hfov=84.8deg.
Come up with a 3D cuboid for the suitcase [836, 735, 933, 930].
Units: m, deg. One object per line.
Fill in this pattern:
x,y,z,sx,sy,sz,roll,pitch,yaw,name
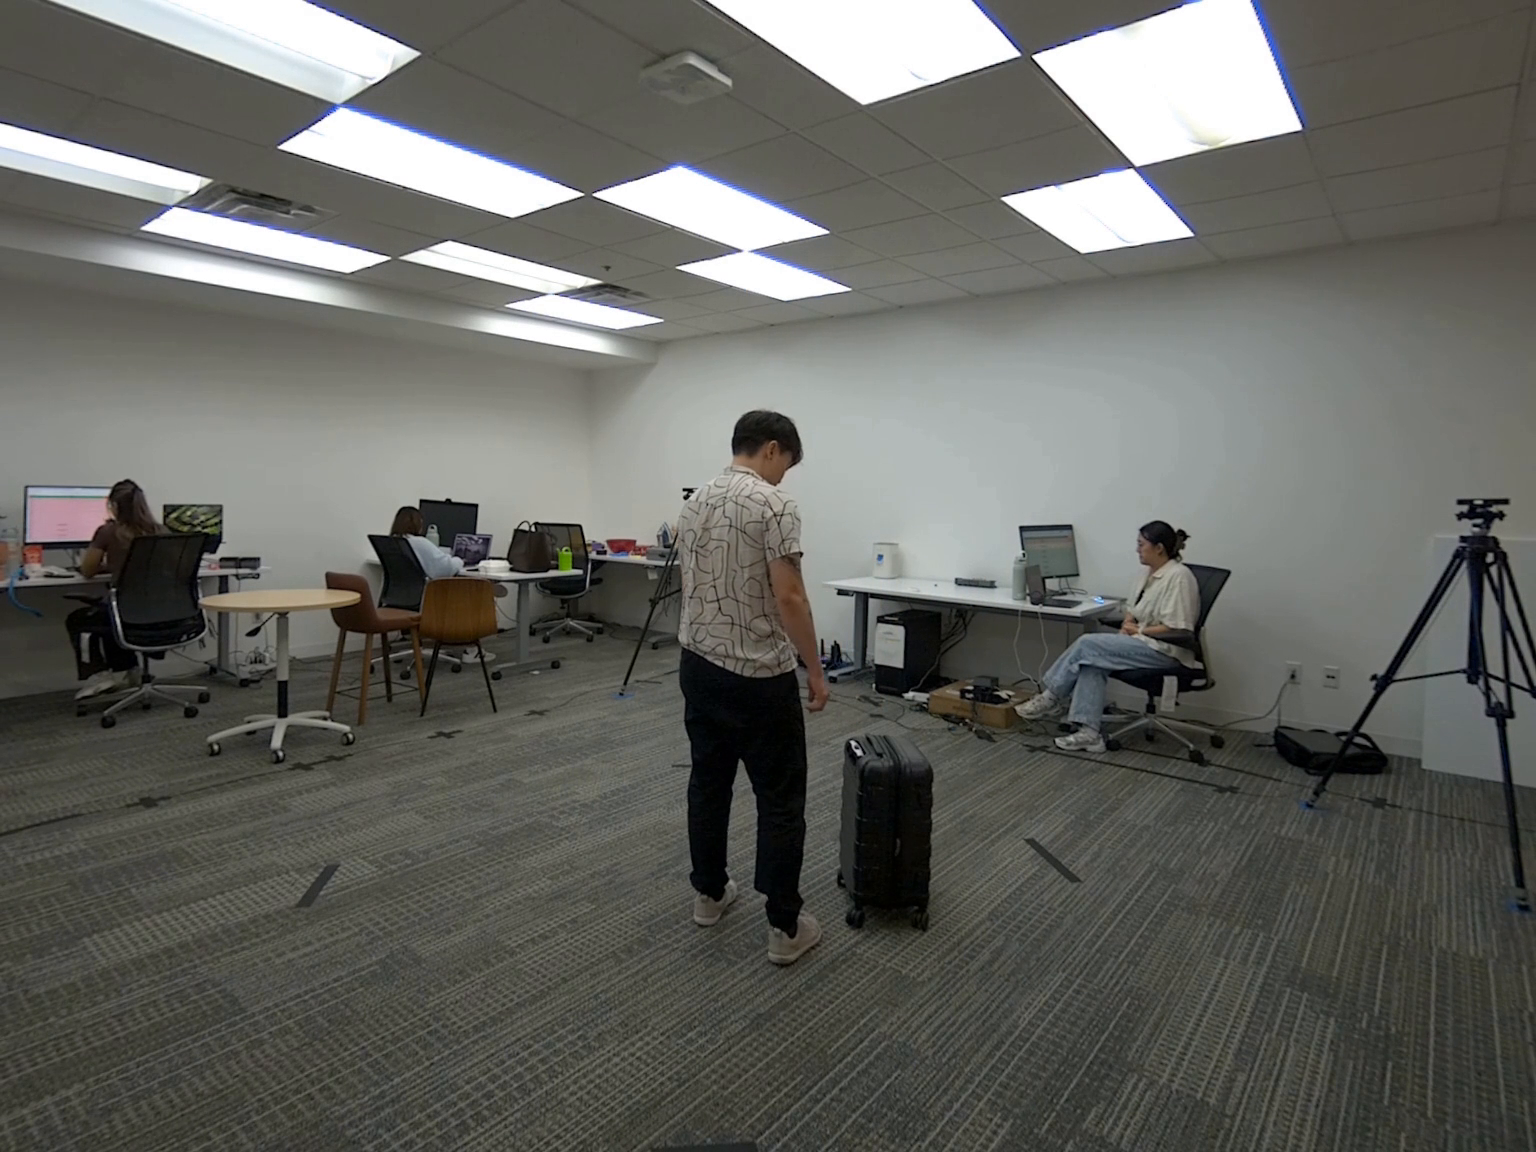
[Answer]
0.391,0.831,2.884,0.247,0.548,0.378,1,3,-5,suitcase
